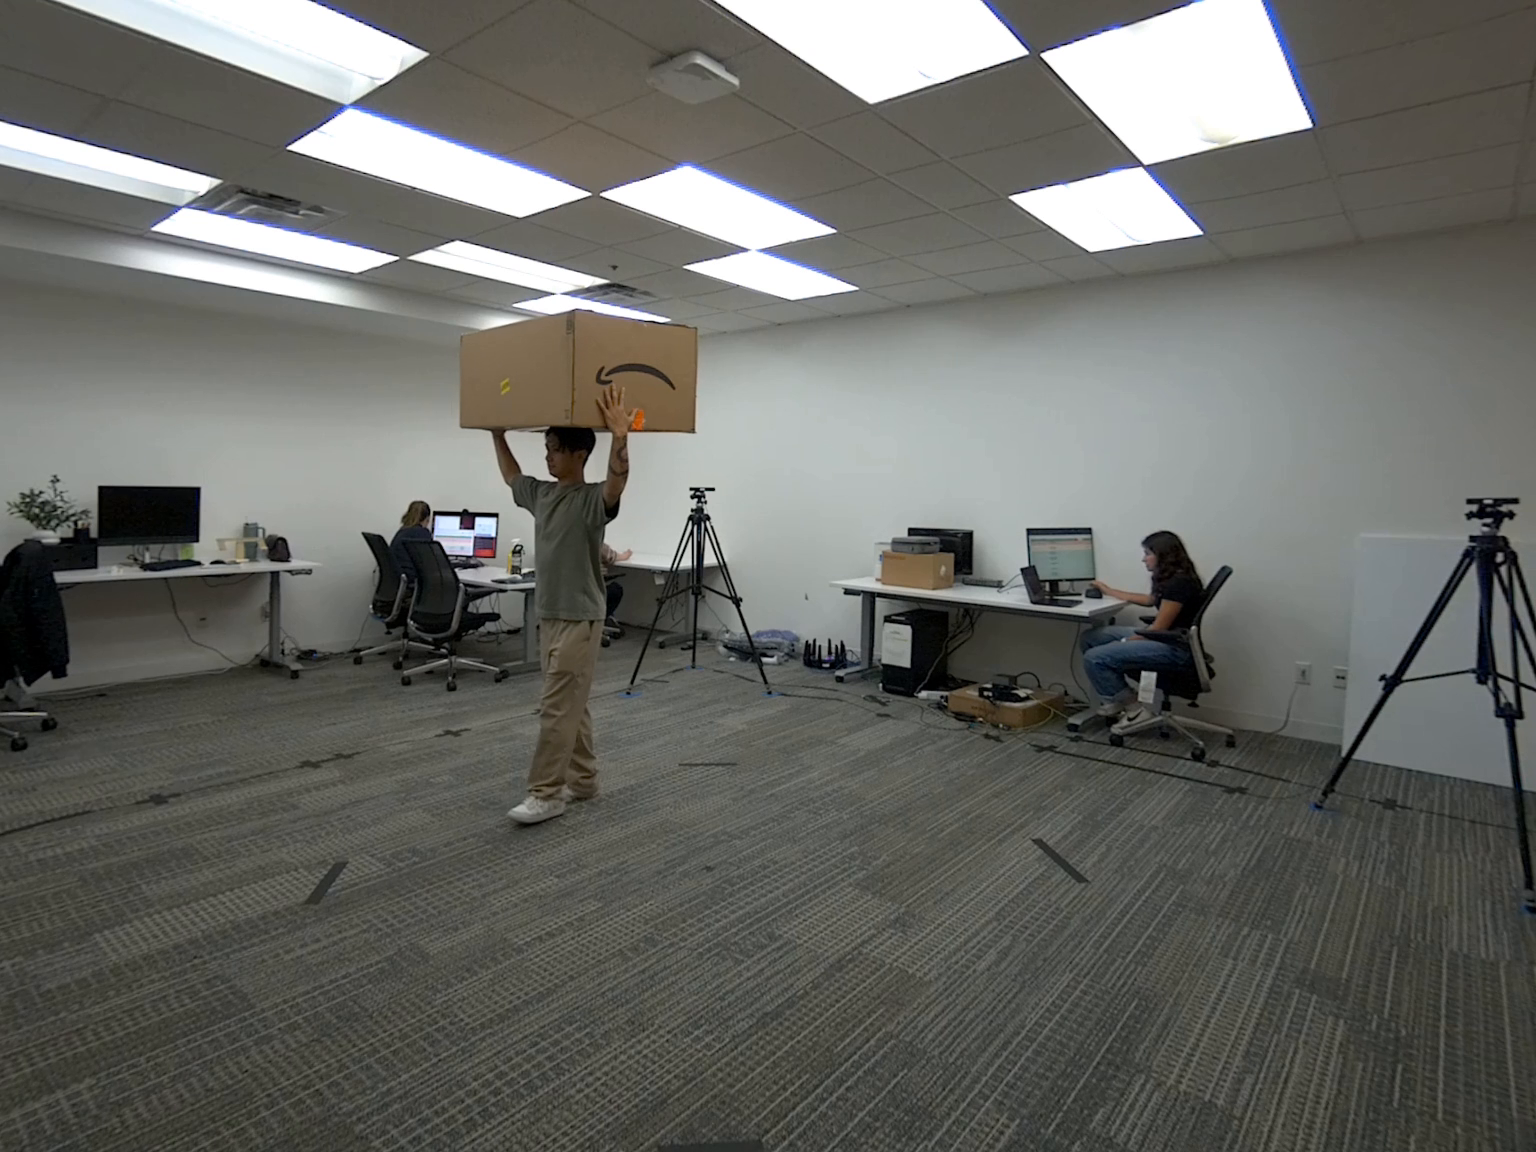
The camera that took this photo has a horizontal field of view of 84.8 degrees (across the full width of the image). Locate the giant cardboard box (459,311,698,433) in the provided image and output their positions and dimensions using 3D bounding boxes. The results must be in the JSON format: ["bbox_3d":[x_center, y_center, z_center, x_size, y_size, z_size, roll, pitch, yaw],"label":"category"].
[{"bbox_3d":[-0.854,-0.838,3.643,0.560,0.424,1.063,-4,10,-41],"label":"giant cardboard box"}]
